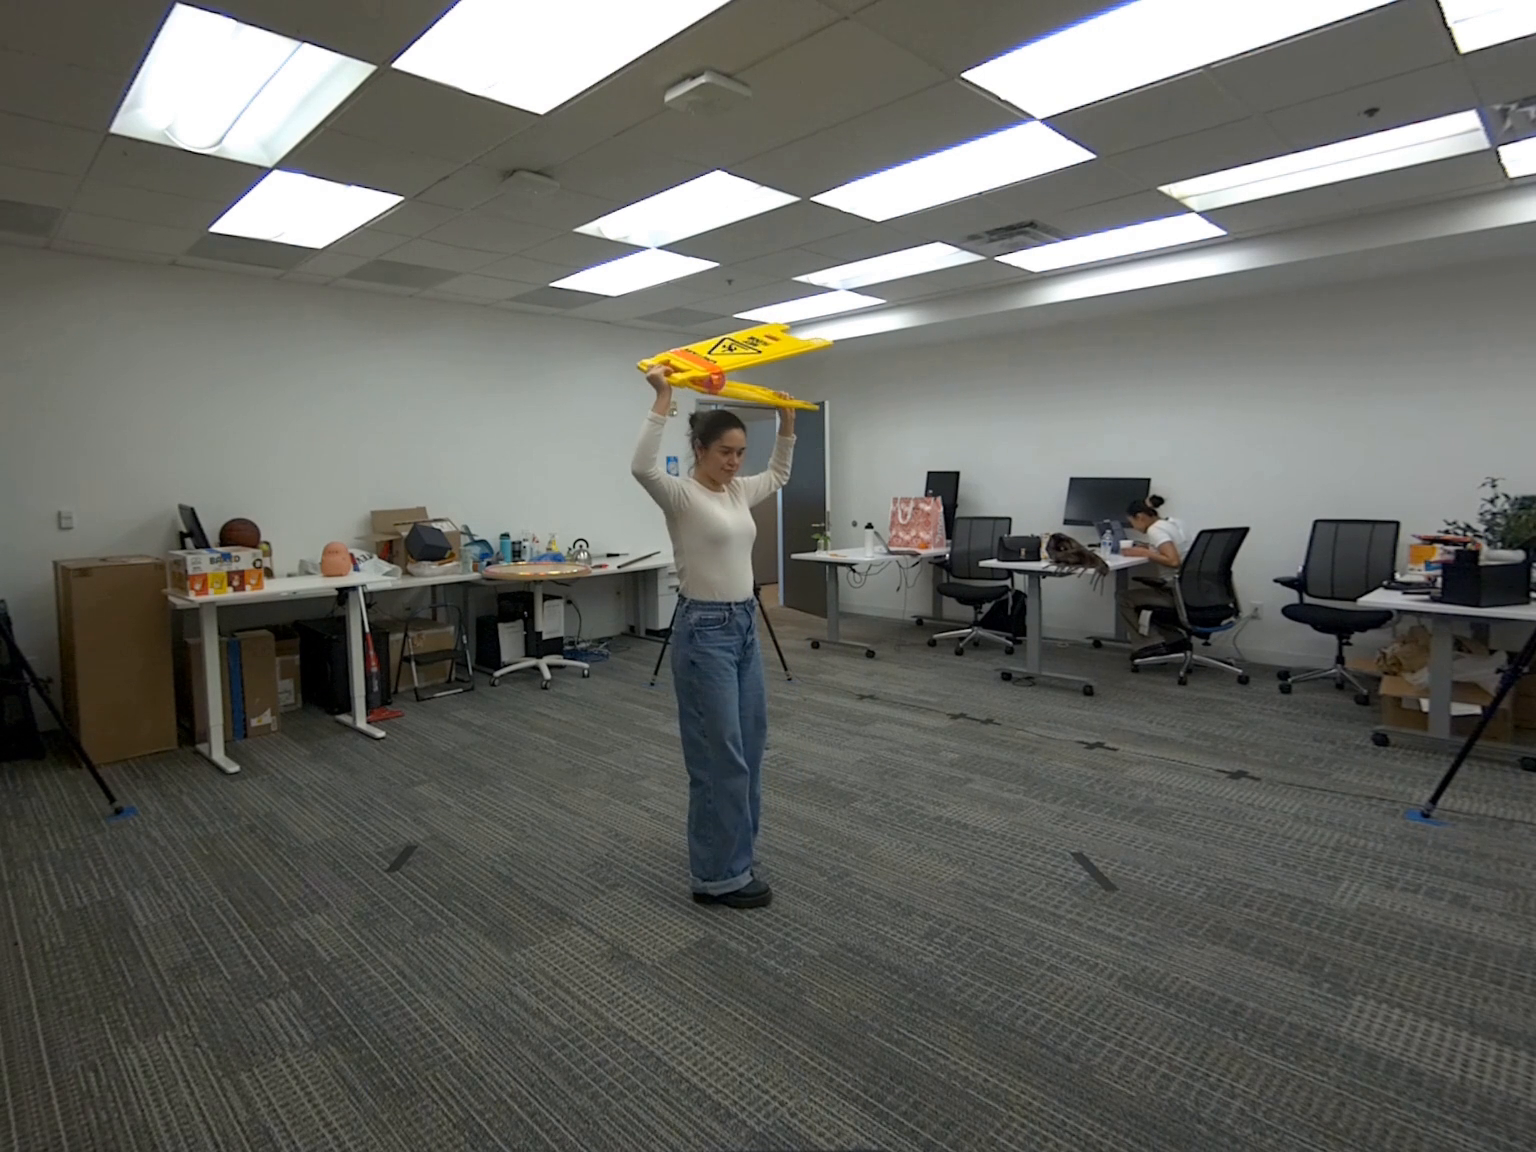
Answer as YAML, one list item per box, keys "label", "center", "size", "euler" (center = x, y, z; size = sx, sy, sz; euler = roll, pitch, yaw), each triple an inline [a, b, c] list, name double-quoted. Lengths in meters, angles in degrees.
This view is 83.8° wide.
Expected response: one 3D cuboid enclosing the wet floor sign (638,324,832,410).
- label: "wet floor sign"
  center: [-0.122, -0.676, 2.798]
  size: [0.293, 0.285, 0.632]
  euler: [30, 31, 36]
